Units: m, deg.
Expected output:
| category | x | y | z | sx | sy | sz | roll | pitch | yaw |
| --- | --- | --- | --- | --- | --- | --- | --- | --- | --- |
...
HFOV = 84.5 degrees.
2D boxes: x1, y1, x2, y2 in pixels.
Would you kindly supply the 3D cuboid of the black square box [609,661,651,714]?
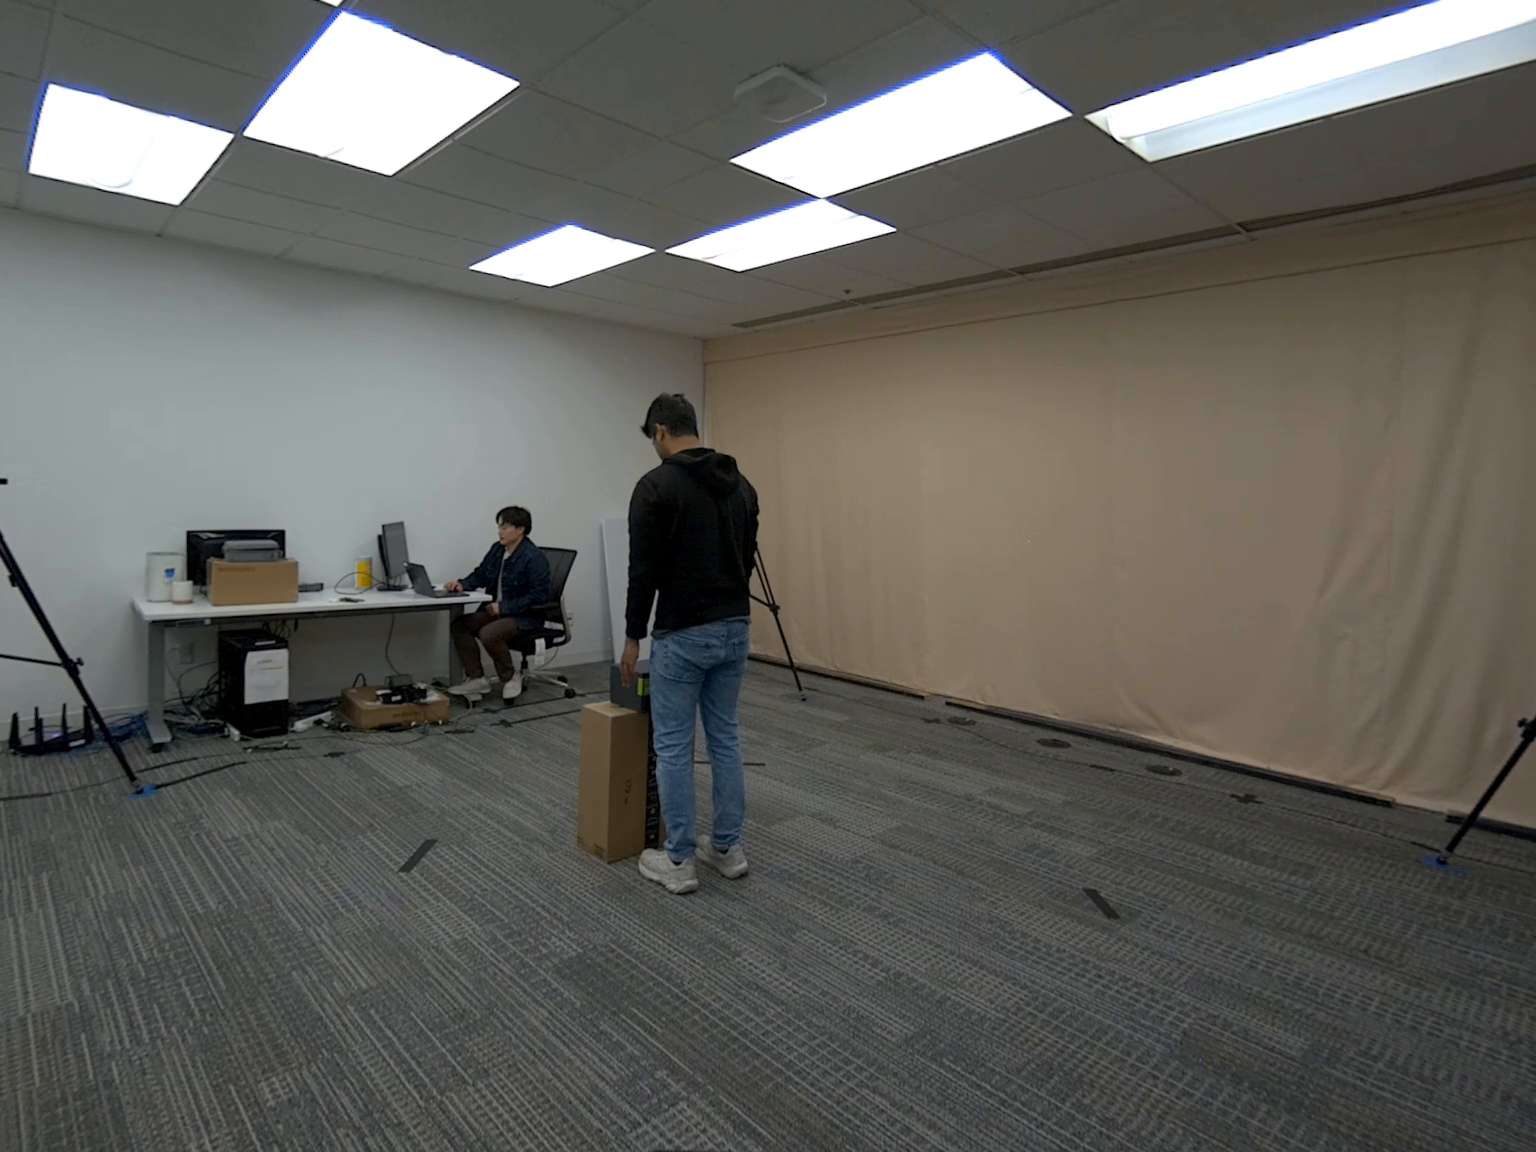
| category | x | y | z | sx | sy | sz | roll | pitch | yaw |
| --- | --- | --- | --- | --- | --- | --- | --- | --- | --- |
| black square box | -0.481 | 0.433 | 3.359 | 0.222 | 0.155 | 0.223 | 7 | 7 | 44 |
